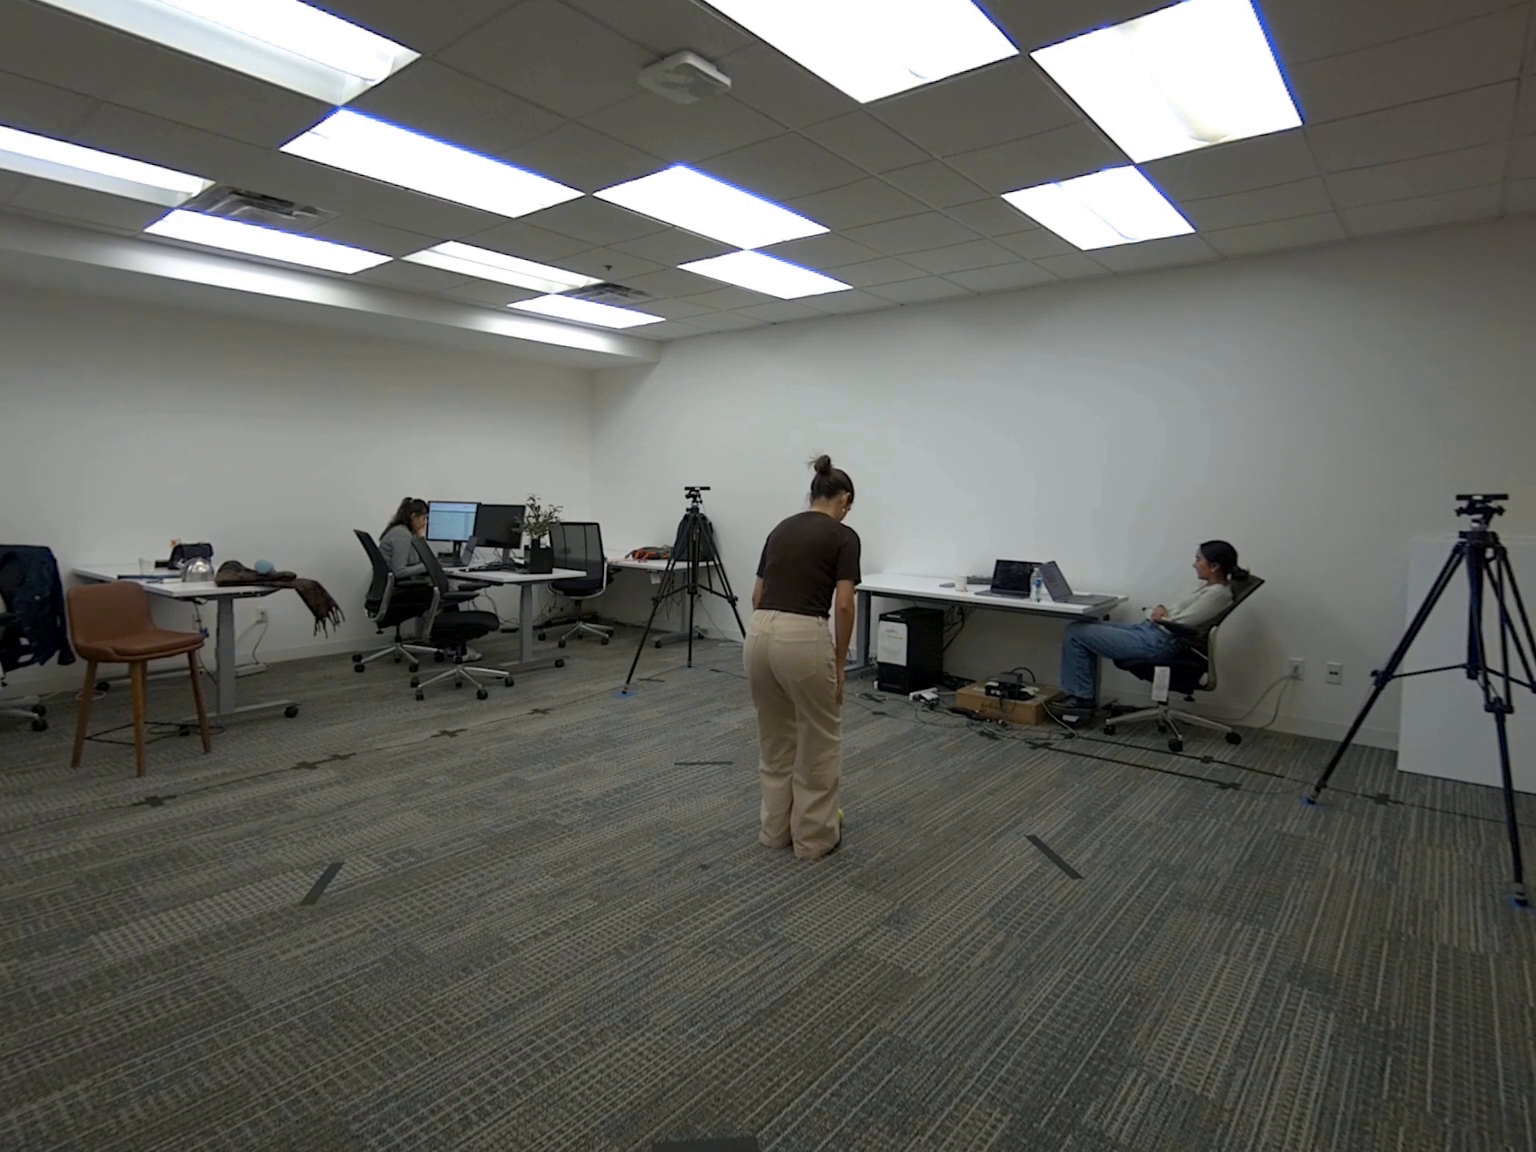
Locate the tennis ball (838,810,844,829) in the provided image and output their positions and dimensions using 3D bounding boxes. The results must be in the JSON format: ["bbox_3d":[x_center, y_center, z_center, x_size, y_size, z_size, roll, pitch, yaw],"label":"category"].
[{"bbox_3d":[0.267,0.979,3.528,0.066,0.066,0.067,1,4,-2],"label":"tennis ball"}]
